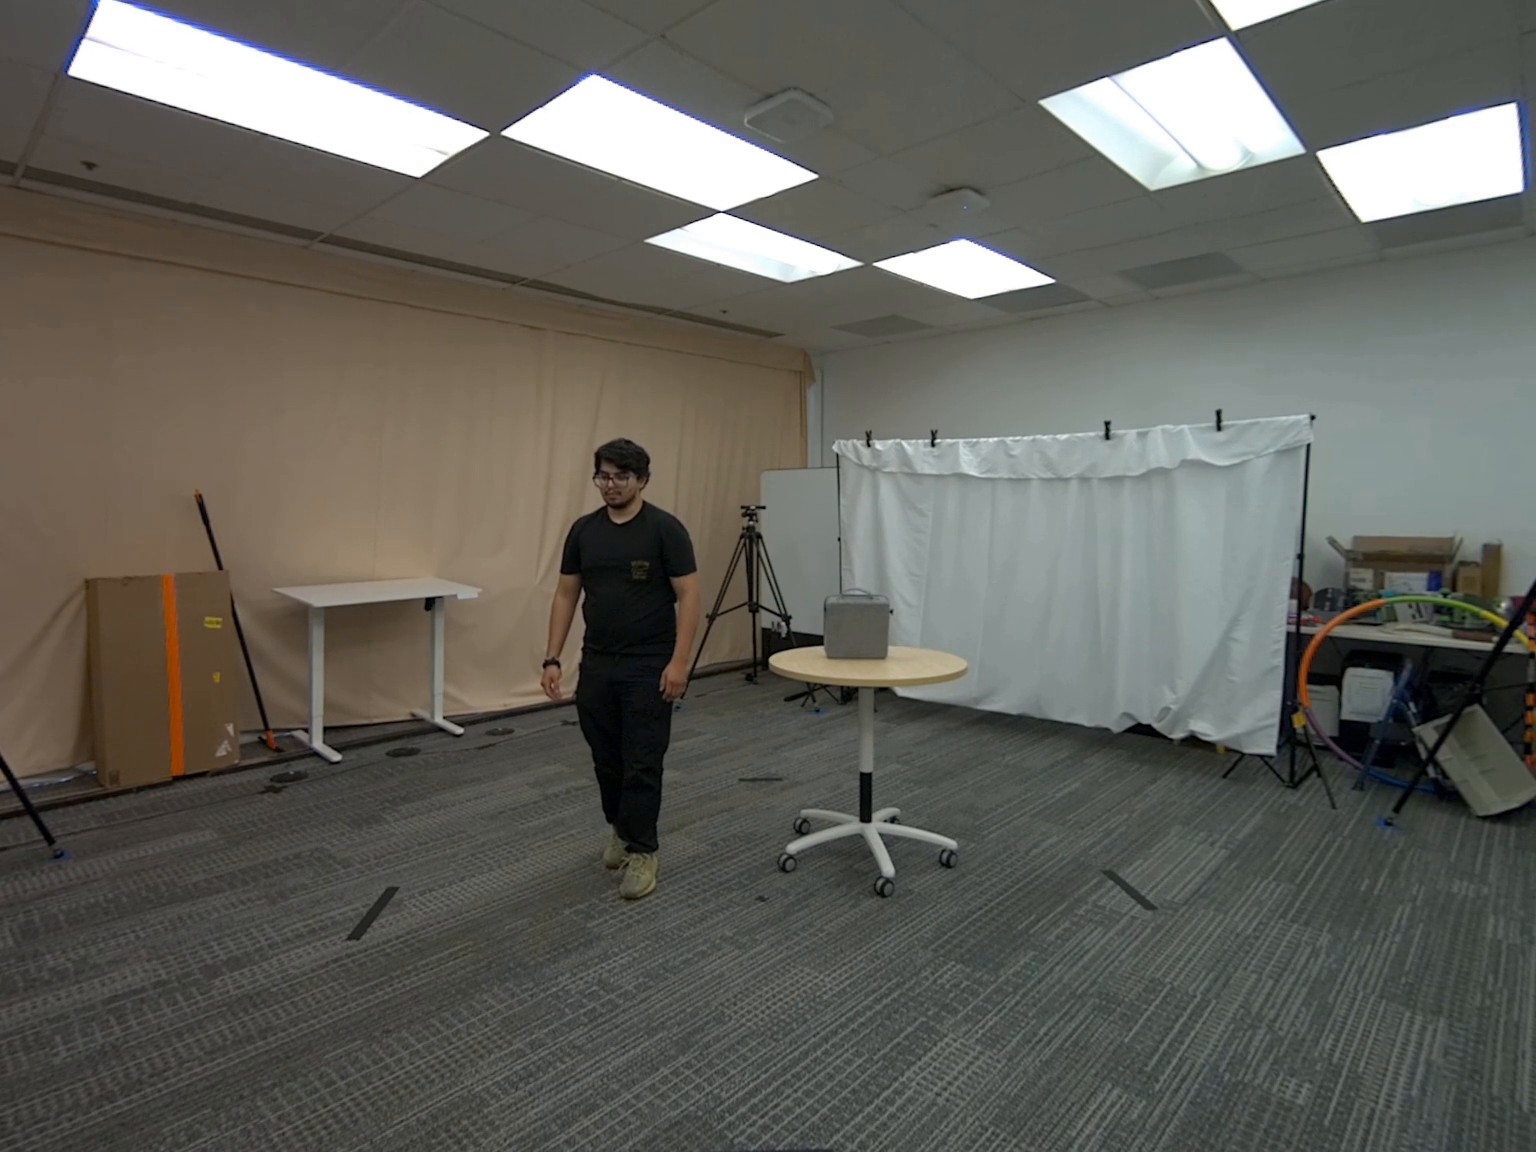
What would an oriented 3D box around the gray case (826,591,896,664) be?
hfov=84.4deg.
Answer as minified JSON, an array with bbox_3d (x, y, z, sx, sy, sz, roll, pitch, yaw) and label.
[{"bbox_3d":[0.362,0.199,3.334,0.258,0.258,0.105,-1,13,3],"label":"gray case"}]
